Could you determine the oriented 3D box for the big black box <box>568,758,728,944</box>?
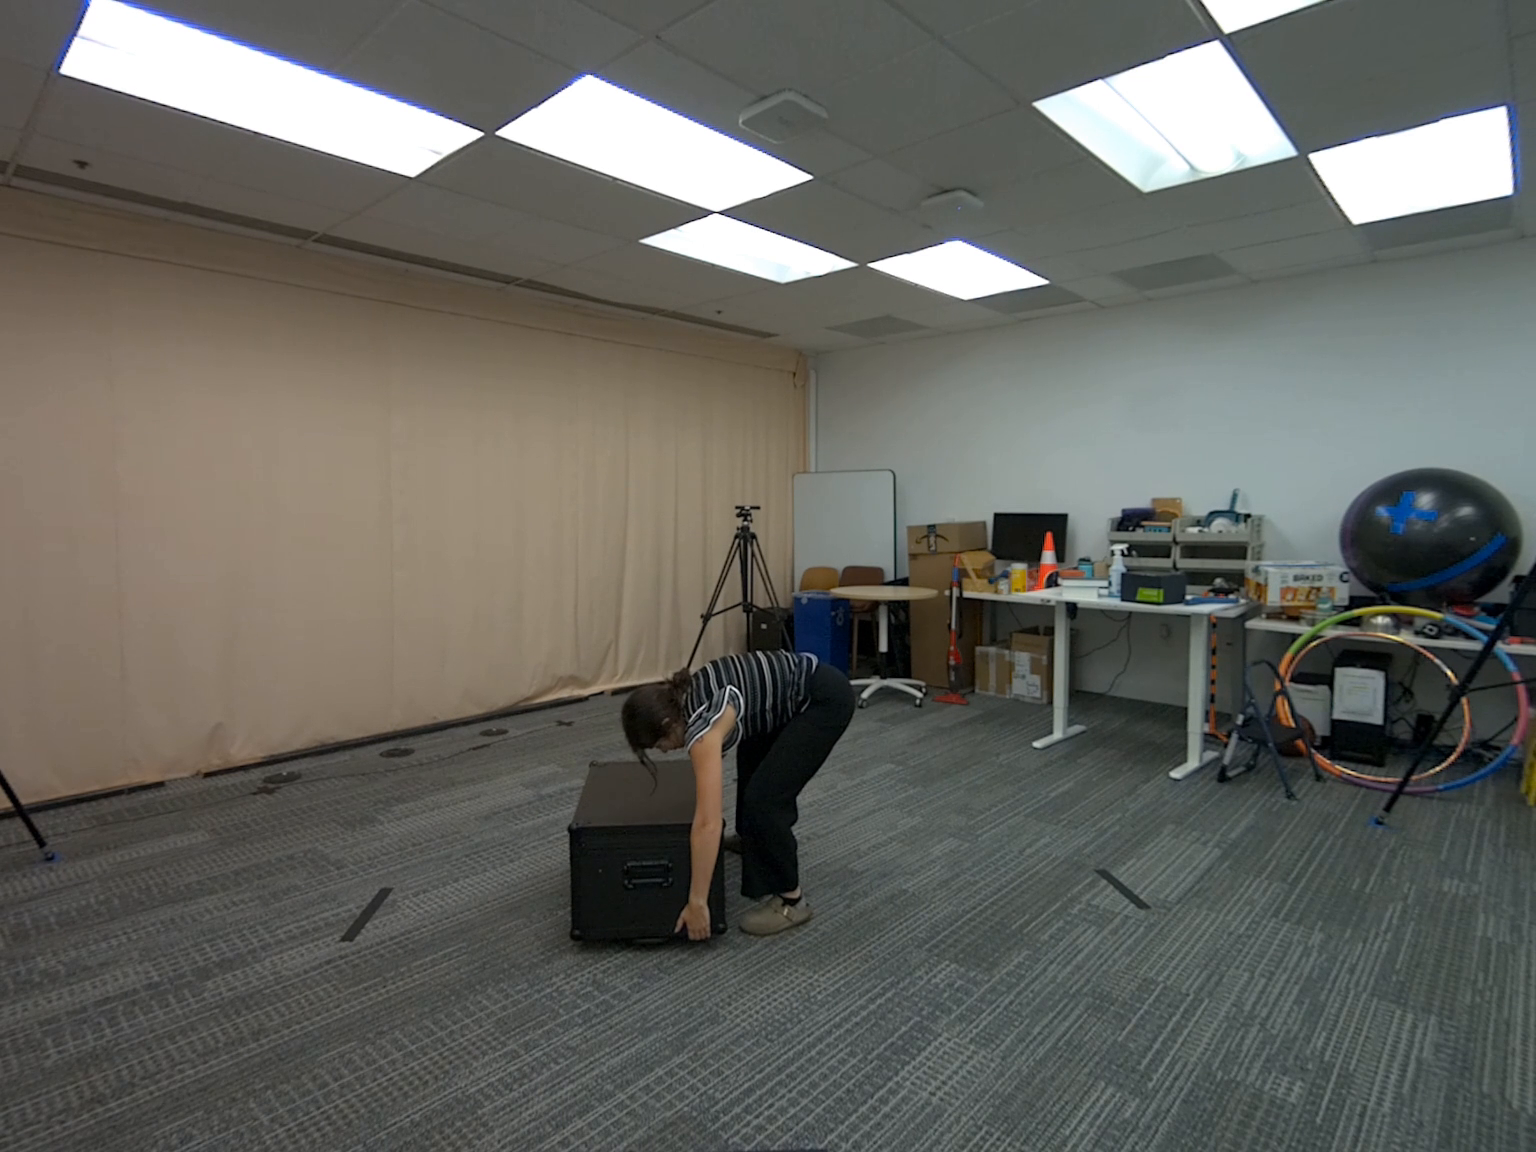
[{"bbox_3d":[-0.432,0.939,3.037,0.518,0.396,0.867,-1,3,-6],"label":"big black box"}]
